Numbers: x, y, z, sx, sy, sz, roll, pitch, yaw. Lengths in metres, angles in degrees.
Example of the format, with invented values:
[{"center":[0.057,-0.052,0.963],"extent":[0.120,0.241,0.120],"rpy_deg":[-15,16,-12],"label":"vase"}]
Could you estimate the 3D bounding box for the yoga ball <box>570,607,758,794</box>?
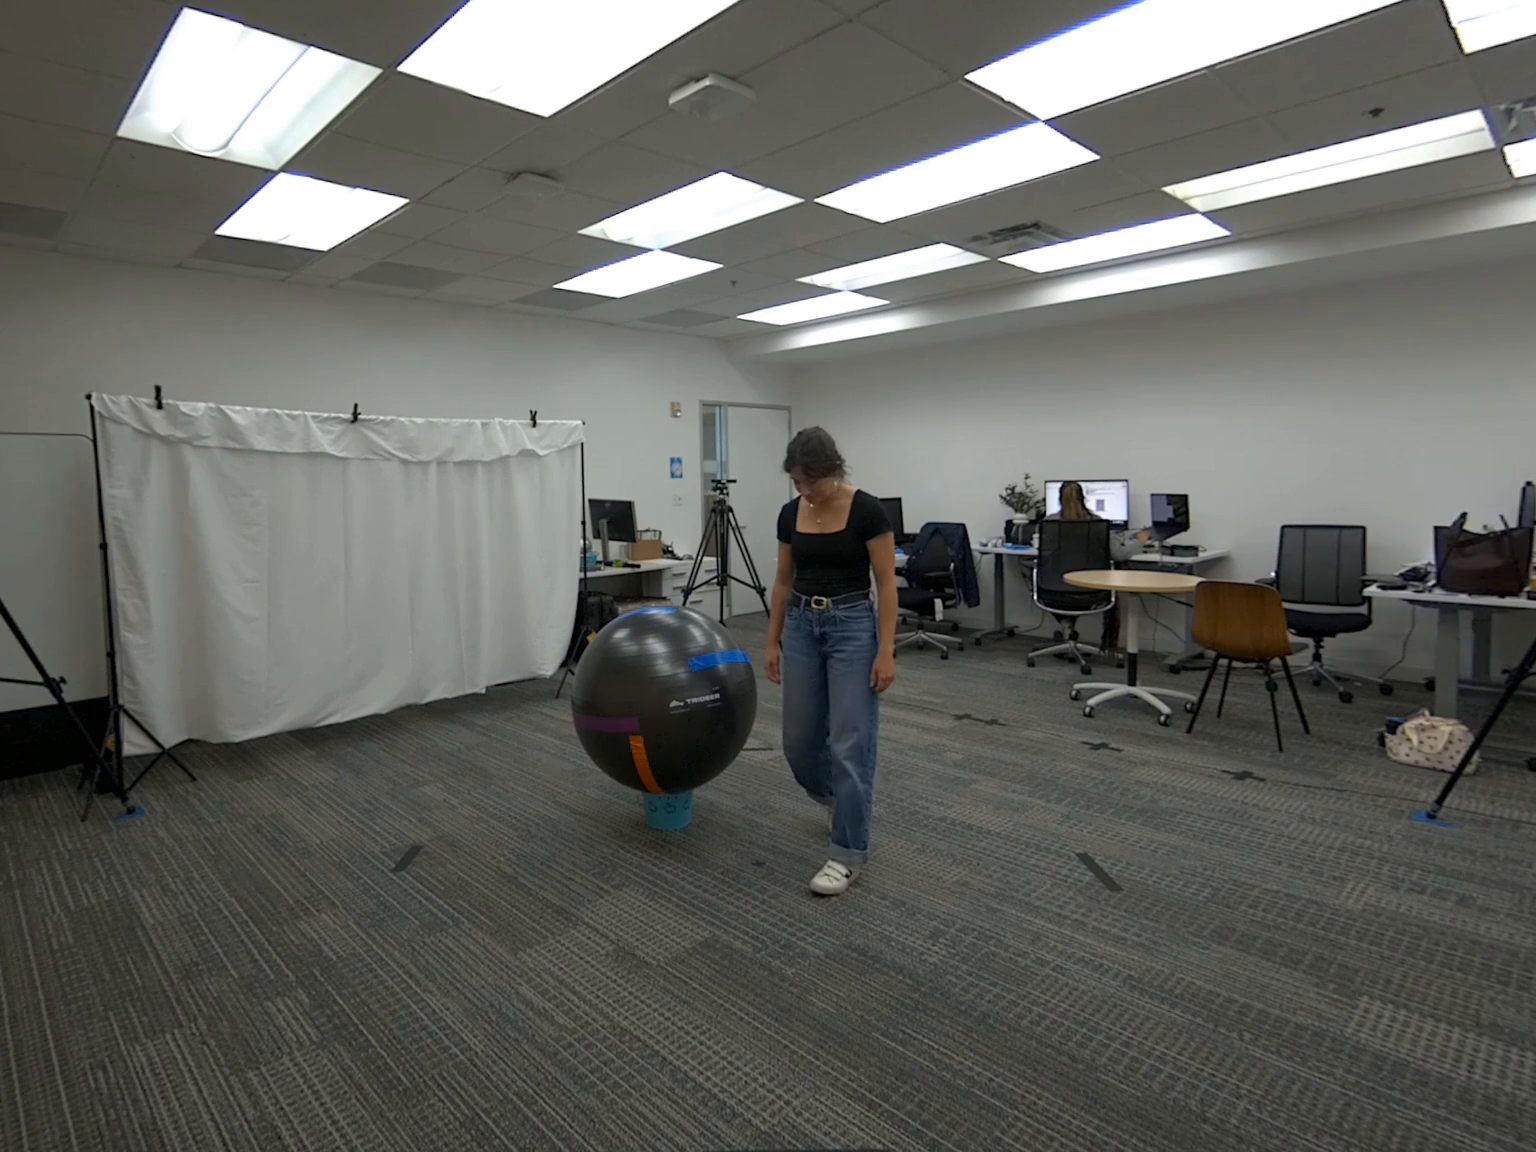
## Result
[{"center":[-0.431,0.503,3.496],"extent":[0.757,0.755,0.762],"rpy_deg":[-1,5,-2],"label":"yoga ball"}]
